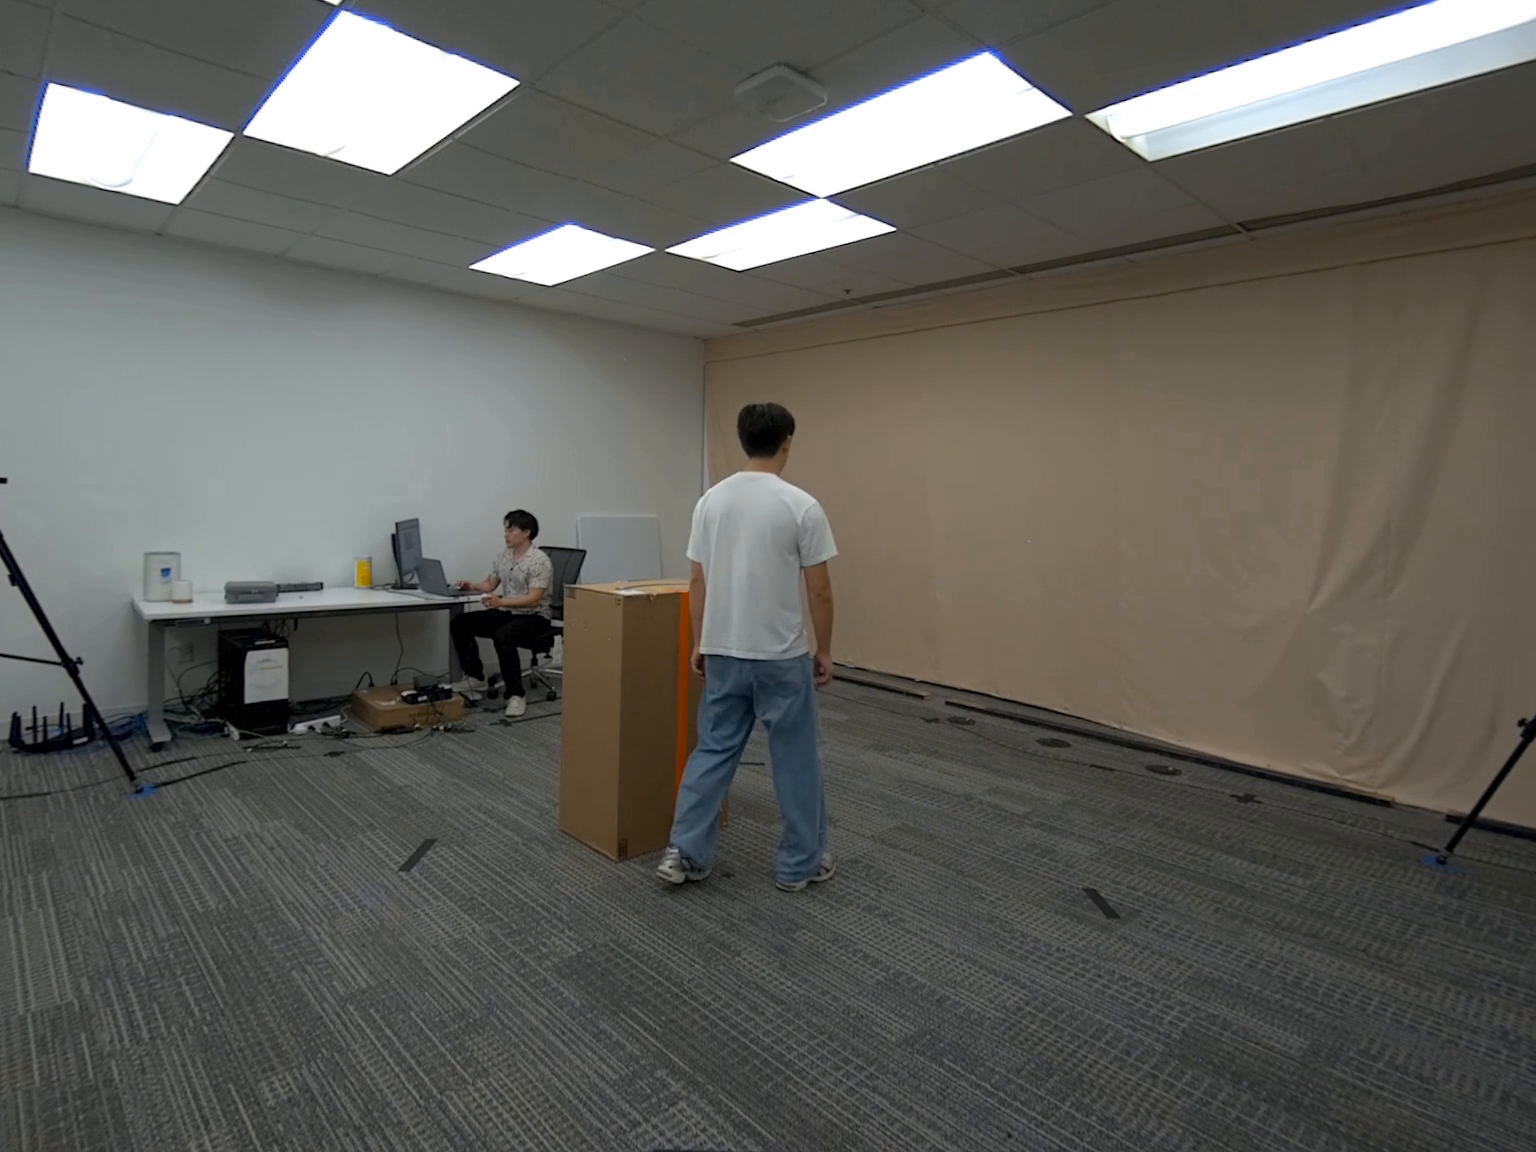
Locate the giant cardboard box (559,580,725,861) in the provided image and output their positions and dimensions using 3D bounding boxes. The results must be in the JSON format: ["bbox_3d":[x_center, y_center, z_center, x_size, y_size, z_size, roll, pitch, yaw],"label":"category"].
[{"bbox_3d":[-0.512,0.552,3.515,0.564,1.023,0.437,-2,5,-44],"label":"giant cardboard box"}]
